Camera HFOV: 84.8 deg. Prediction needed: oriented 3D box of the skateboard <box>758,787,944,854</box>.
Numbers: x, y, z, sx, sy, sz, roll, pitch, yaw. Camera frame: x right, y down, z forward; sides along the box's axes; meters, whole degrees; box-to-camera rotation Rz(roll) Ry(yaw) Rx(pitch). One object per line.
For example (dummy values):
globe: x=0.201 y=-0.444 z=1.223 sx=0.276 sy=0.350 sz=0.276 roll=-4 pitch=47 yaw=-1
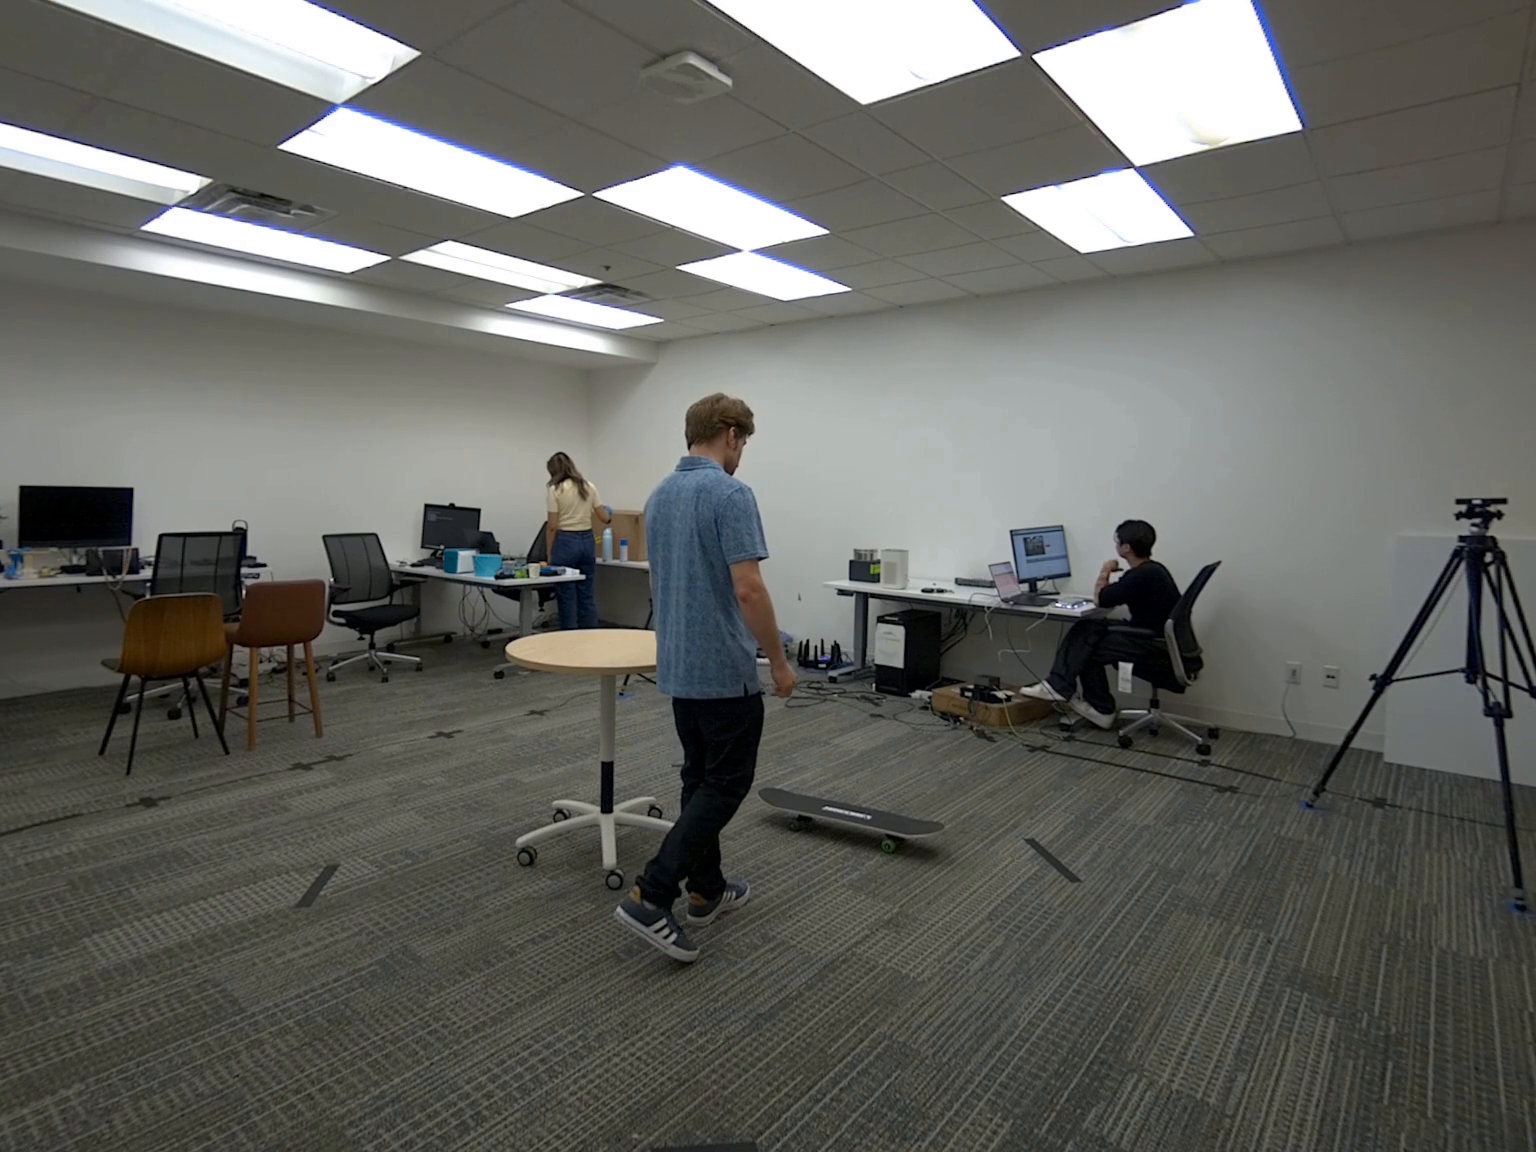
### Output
skateboard: x=0.308 y=0.985 z=3.455 sx=0.807 sy=0.110 sz=0.189 roll=4 pitch=6 yaw=27
